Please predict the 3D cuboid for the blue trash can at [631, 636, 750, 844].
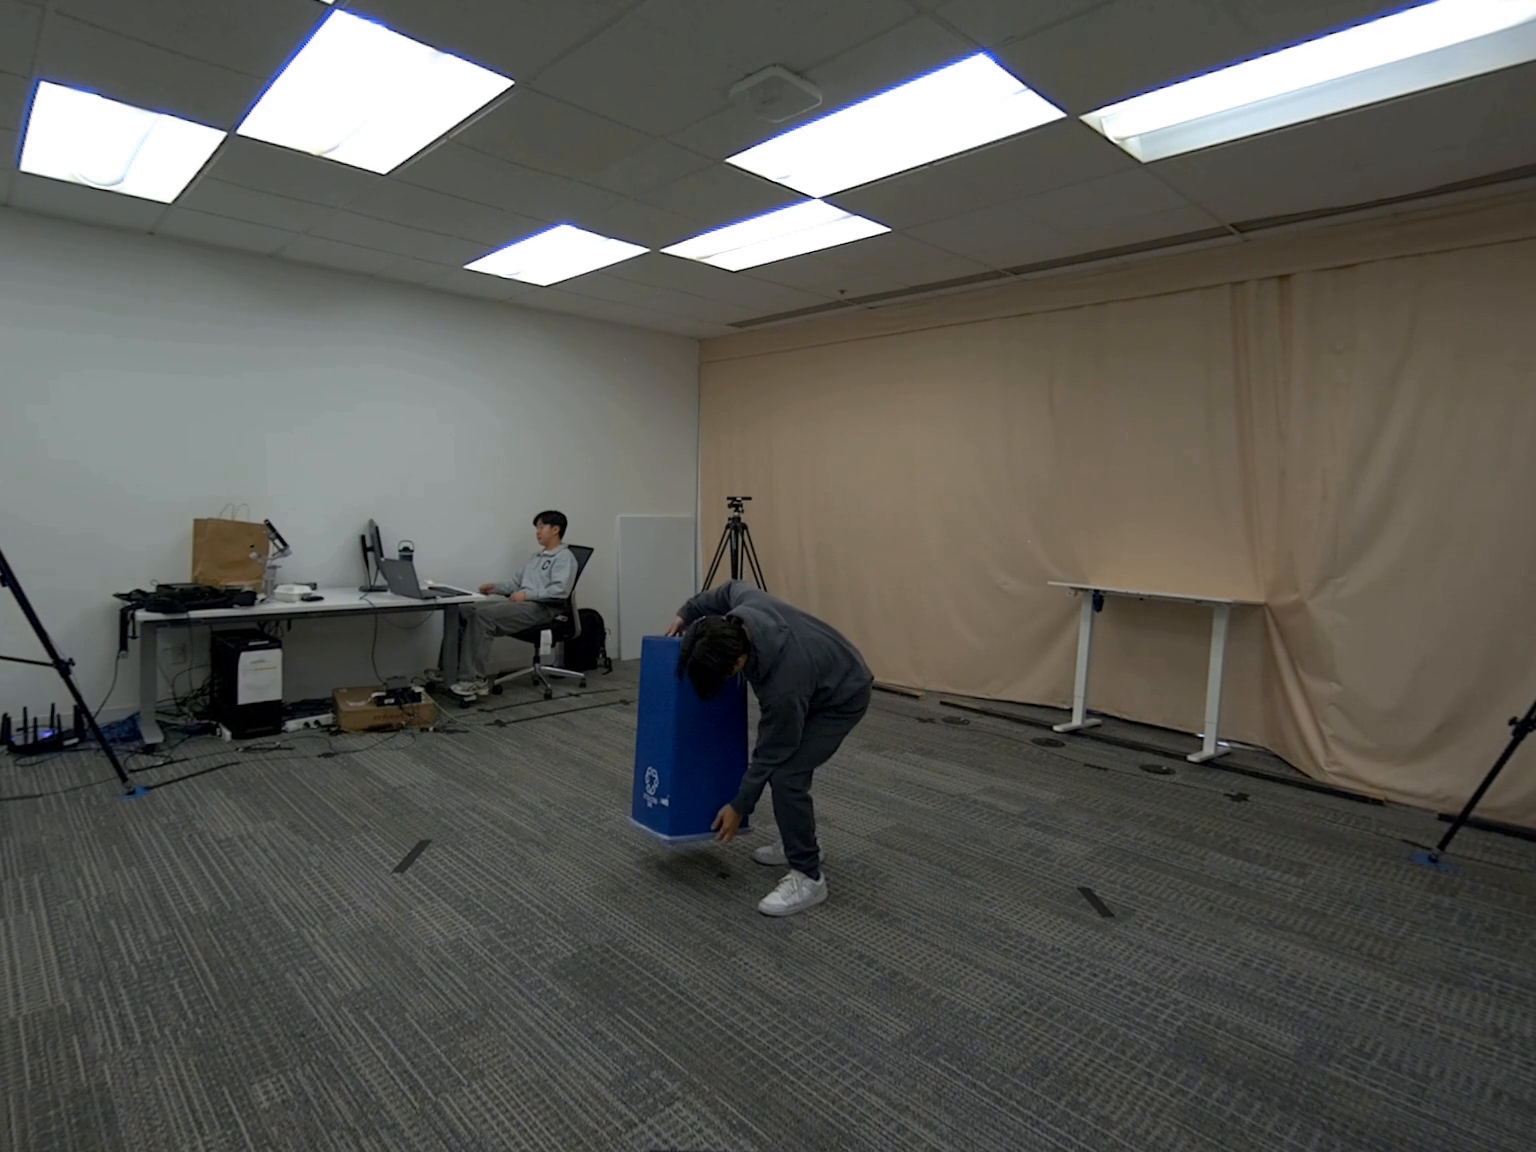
[{"bbox_3d":[-0.296,0.587,3.188,0.370,0.716,0.381,4,-6,-32],"label":"blue trash can"}]
